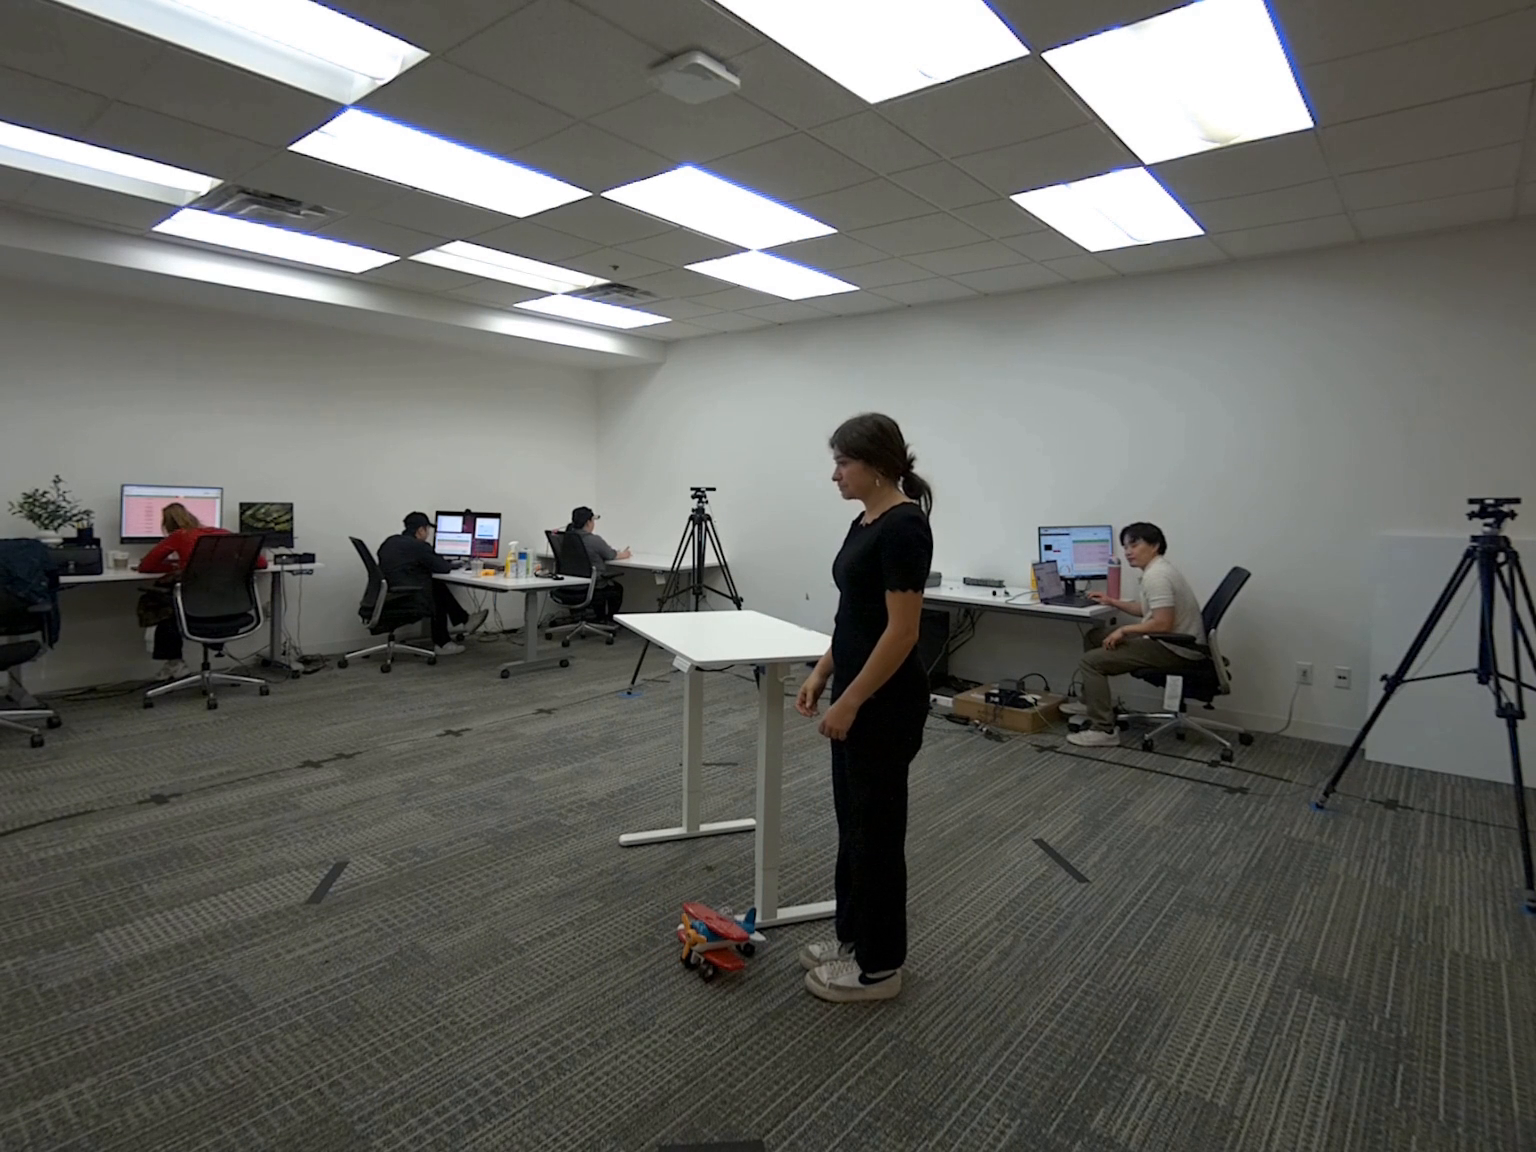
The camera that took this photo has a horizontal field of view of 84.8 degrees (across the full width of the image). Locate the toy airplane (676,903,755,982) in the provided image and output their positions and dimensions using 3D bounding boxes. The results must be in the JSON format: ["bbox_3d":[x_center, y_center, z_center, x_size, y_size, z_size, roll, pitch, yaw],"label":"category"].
[{"bbox_3d":[-0.155,1.053,2.502,0.257,0.155,0.255,3,7,20],"label":"toy airplane"}]
